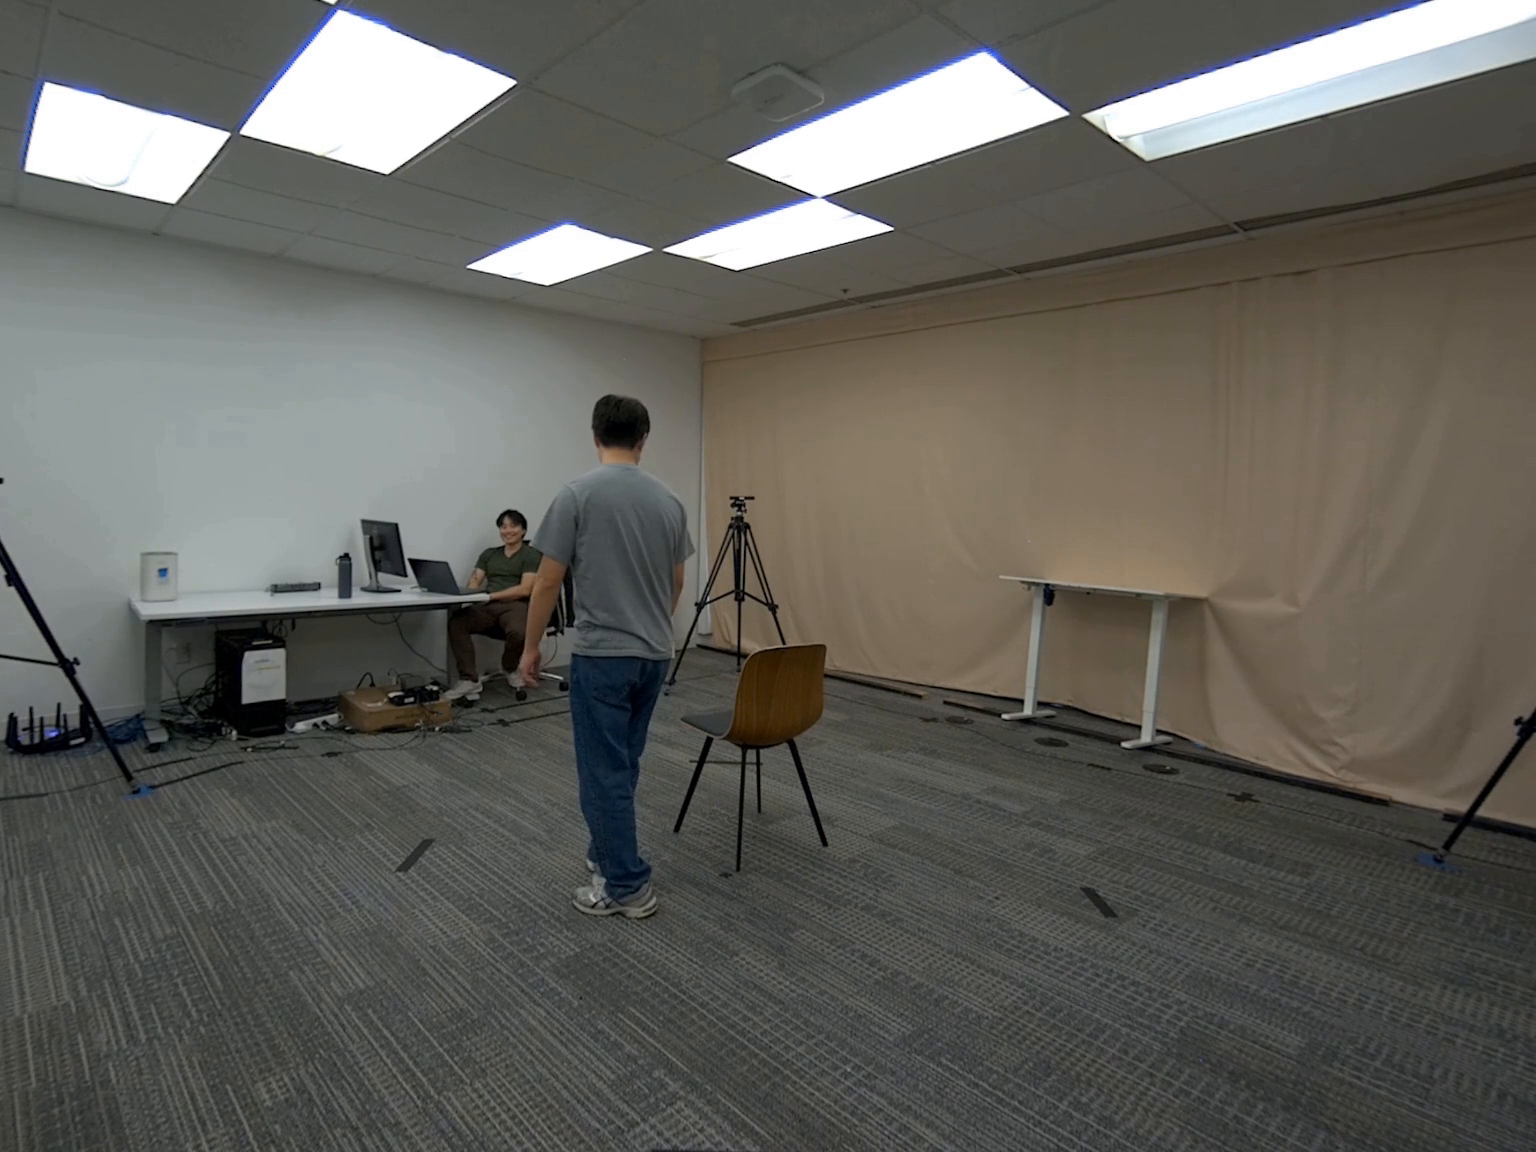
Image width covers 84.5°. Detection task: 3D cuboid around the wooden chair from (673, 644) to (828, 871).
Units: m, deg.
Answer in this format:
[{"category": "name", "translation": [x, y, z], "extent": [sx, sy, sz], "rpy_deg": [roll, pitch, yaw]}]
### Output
[{"category": "wooden chair", "translation": [-0.075, 0.651, 3.418], "extent": [0.467, 0.873, 0.537], "rpy_deg": [-1, 9, -37]}]
